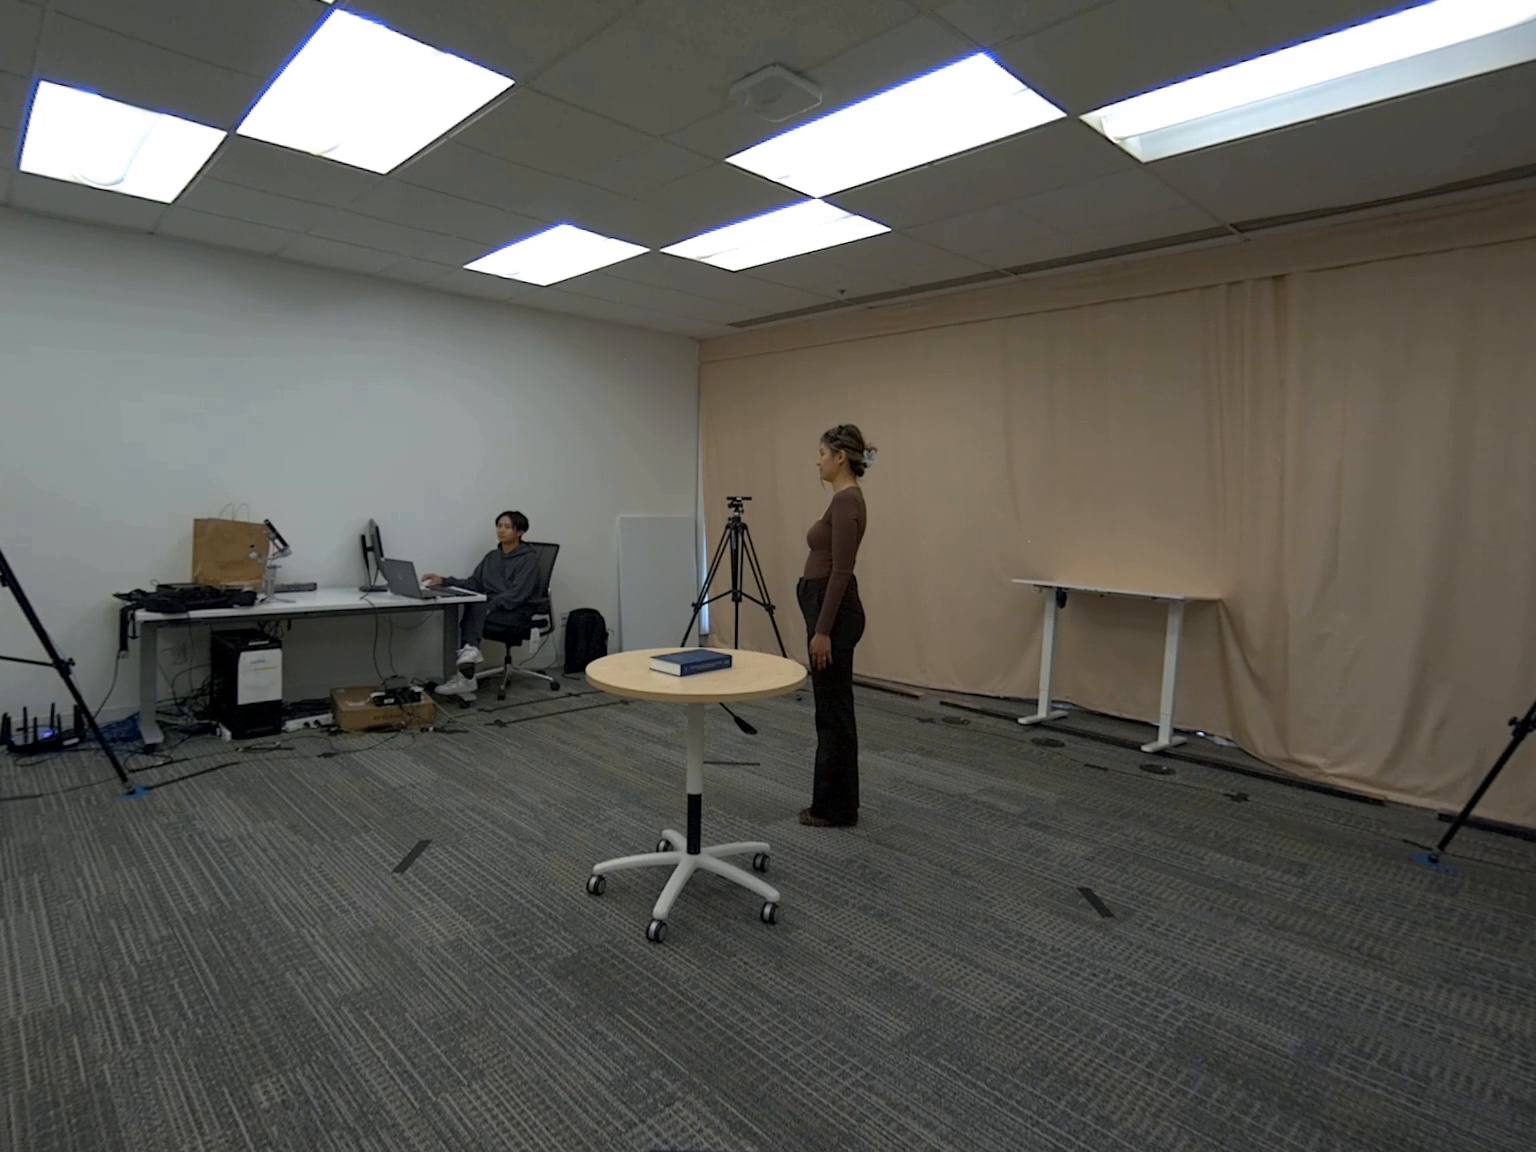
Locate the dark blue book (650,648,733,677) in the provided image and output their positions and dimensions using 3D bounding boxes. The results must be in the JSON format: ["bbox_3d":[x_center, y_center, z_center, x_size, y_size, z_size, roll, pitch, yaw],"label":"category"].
[{"bbox_3d":[-0.275,0.301,2.922,0.167,0.045,0.240,6,8,43],"label":"dark blue book"}]
